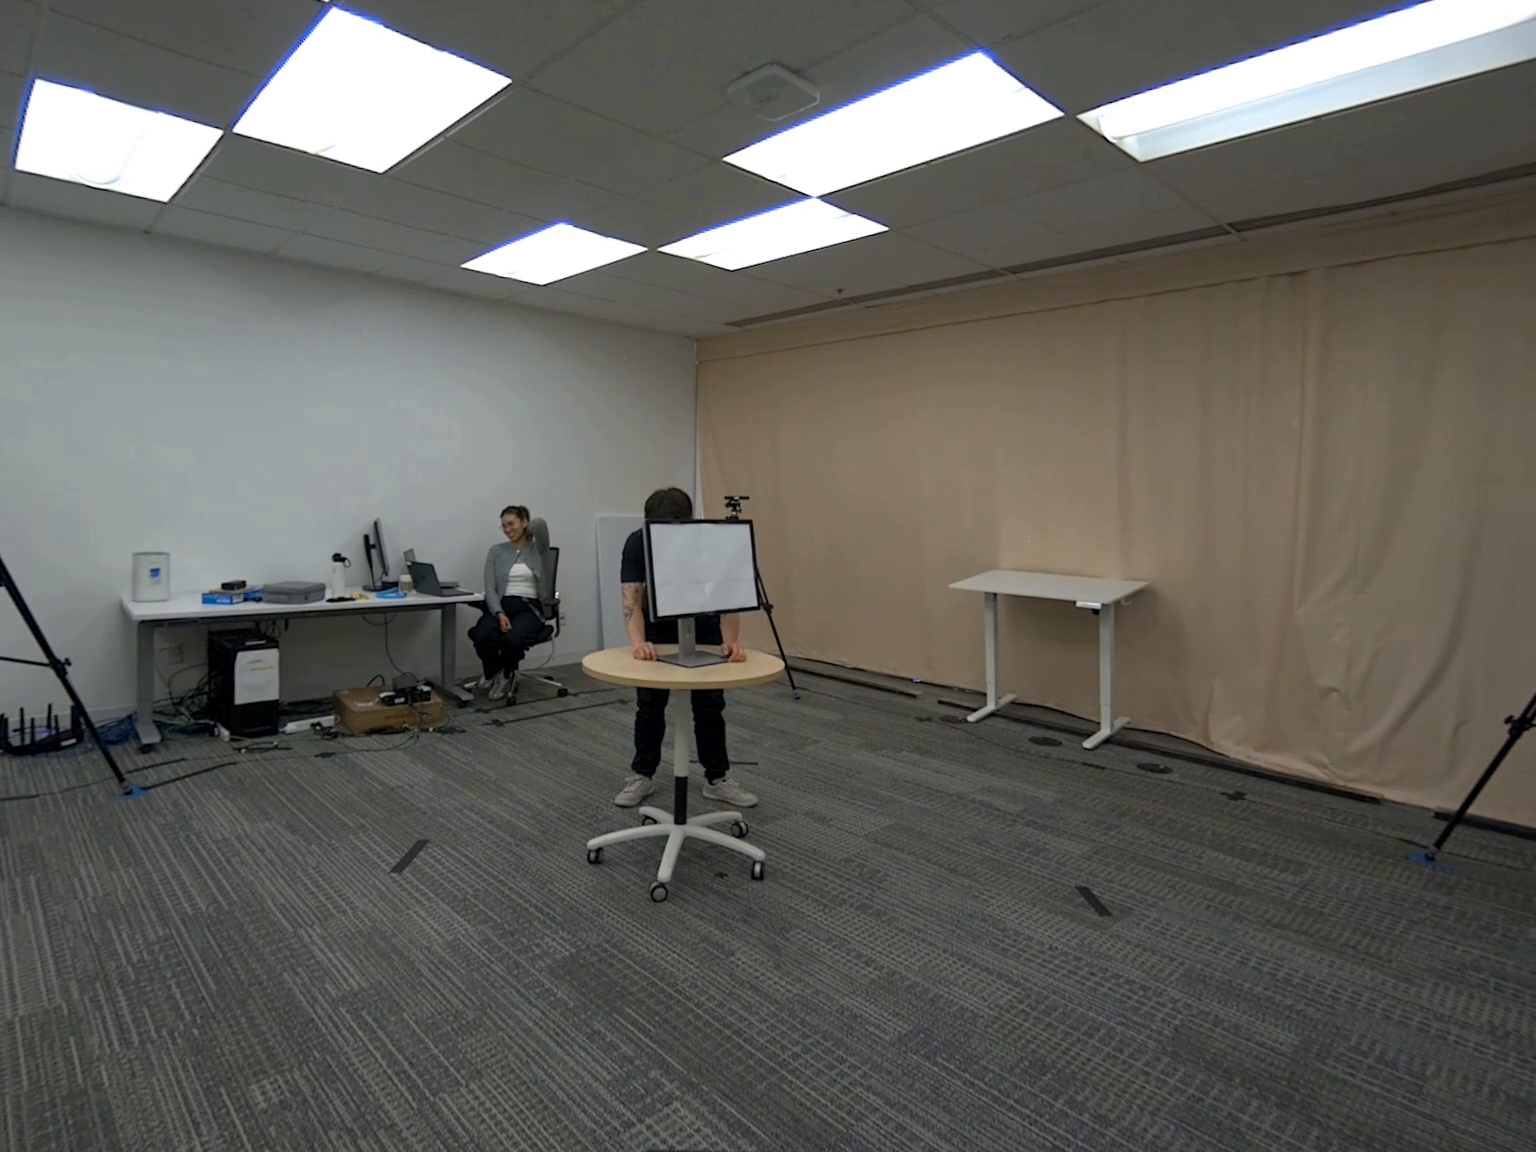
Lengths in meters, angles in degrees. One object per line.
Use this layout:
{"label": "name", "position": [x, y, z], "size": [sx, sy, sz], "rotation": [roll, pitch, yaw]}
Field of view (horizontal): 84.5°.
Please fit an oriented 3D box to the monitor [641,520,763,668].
{"label": "monitor", "position": [-0.277, 0.057, 3.196], "size": [0.192, 0.521, 0.527], "rotation": [7, 7, 40]}
